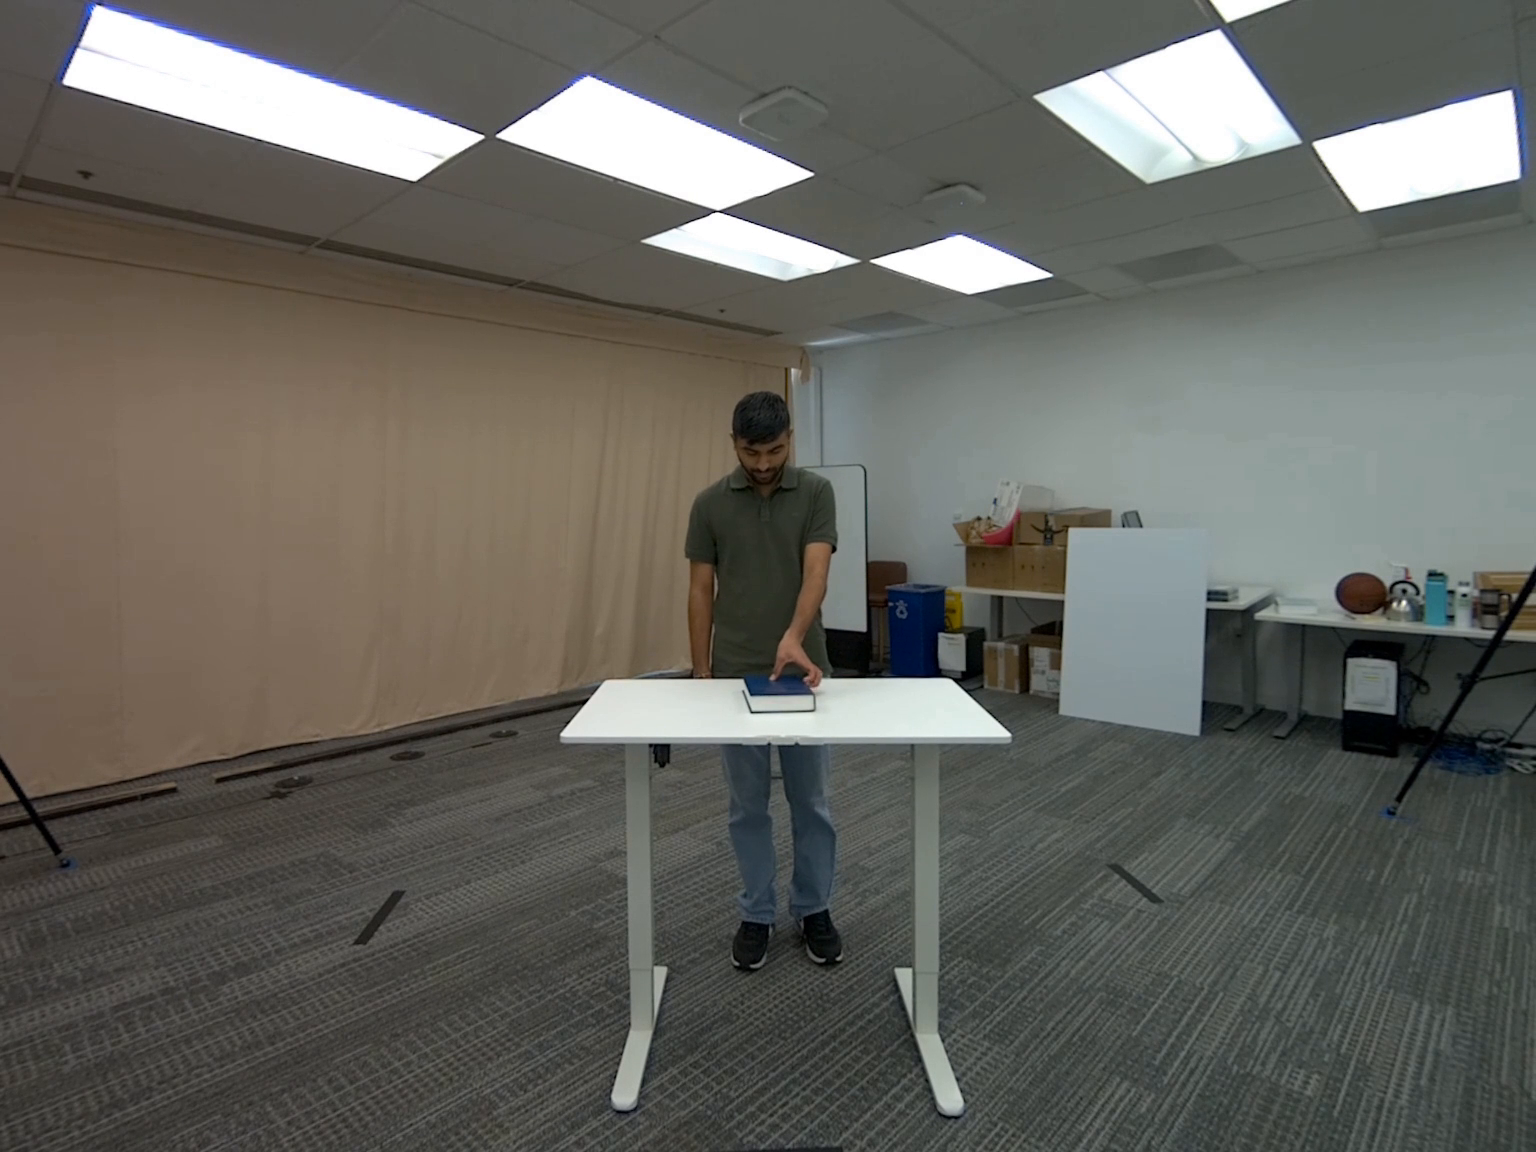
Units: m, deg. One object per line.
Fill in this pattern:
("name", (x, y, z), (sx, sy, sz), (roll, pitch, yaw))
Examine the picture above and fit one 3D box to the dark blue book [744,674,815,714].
("dark blue book", (0.026, 0.304, 2.191), (0.163, 0.045, 0.247), (-1, 5, -5))
